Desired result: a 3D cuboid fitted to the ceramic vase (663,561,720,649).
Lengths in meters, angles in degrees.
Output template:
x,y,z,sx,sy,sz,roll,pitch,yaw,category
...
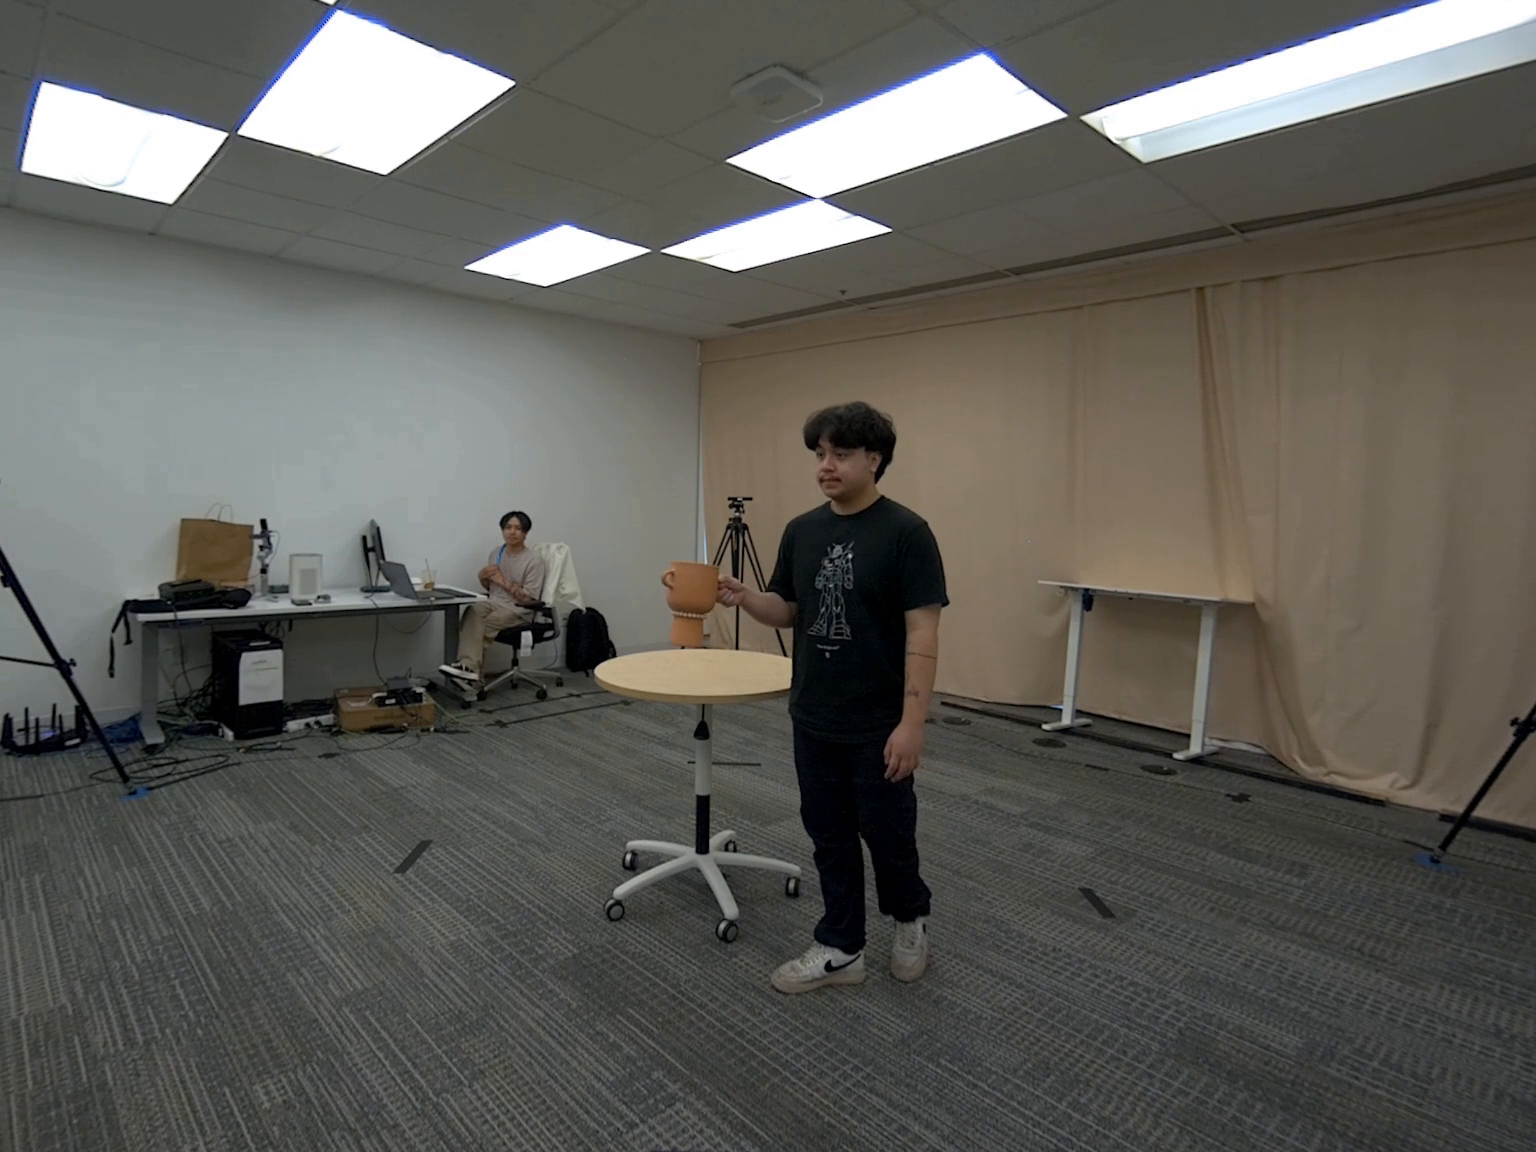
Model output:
x,y,z,sx,sy,sz,roll,pitch,yaw,category
-0.202,0.079,2.242,0.159,0.220,0.134,5,-4,-1,ceramic vase
